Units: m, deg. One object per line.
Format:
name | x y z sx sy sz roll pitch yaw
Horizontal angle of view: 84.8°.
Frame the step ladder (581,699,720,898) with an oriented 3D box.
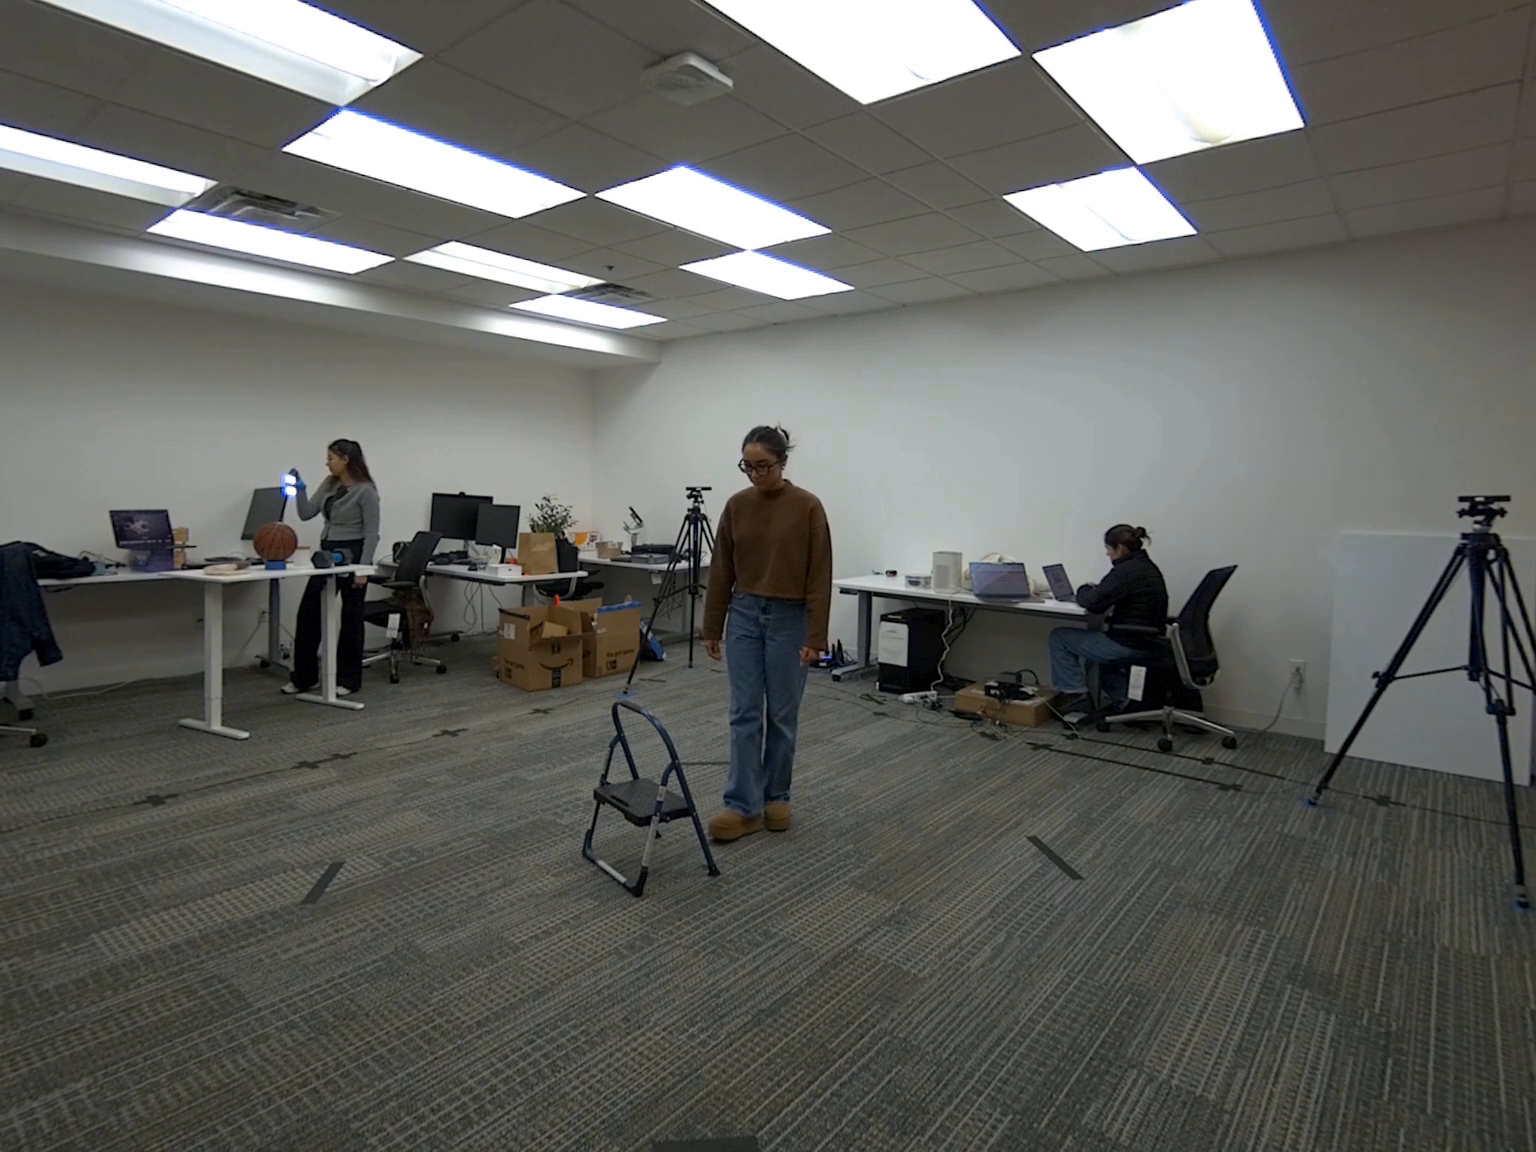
step ladder | -0.446 0.756 3.116 0.339 0.604 0.445 -2 5 -39
